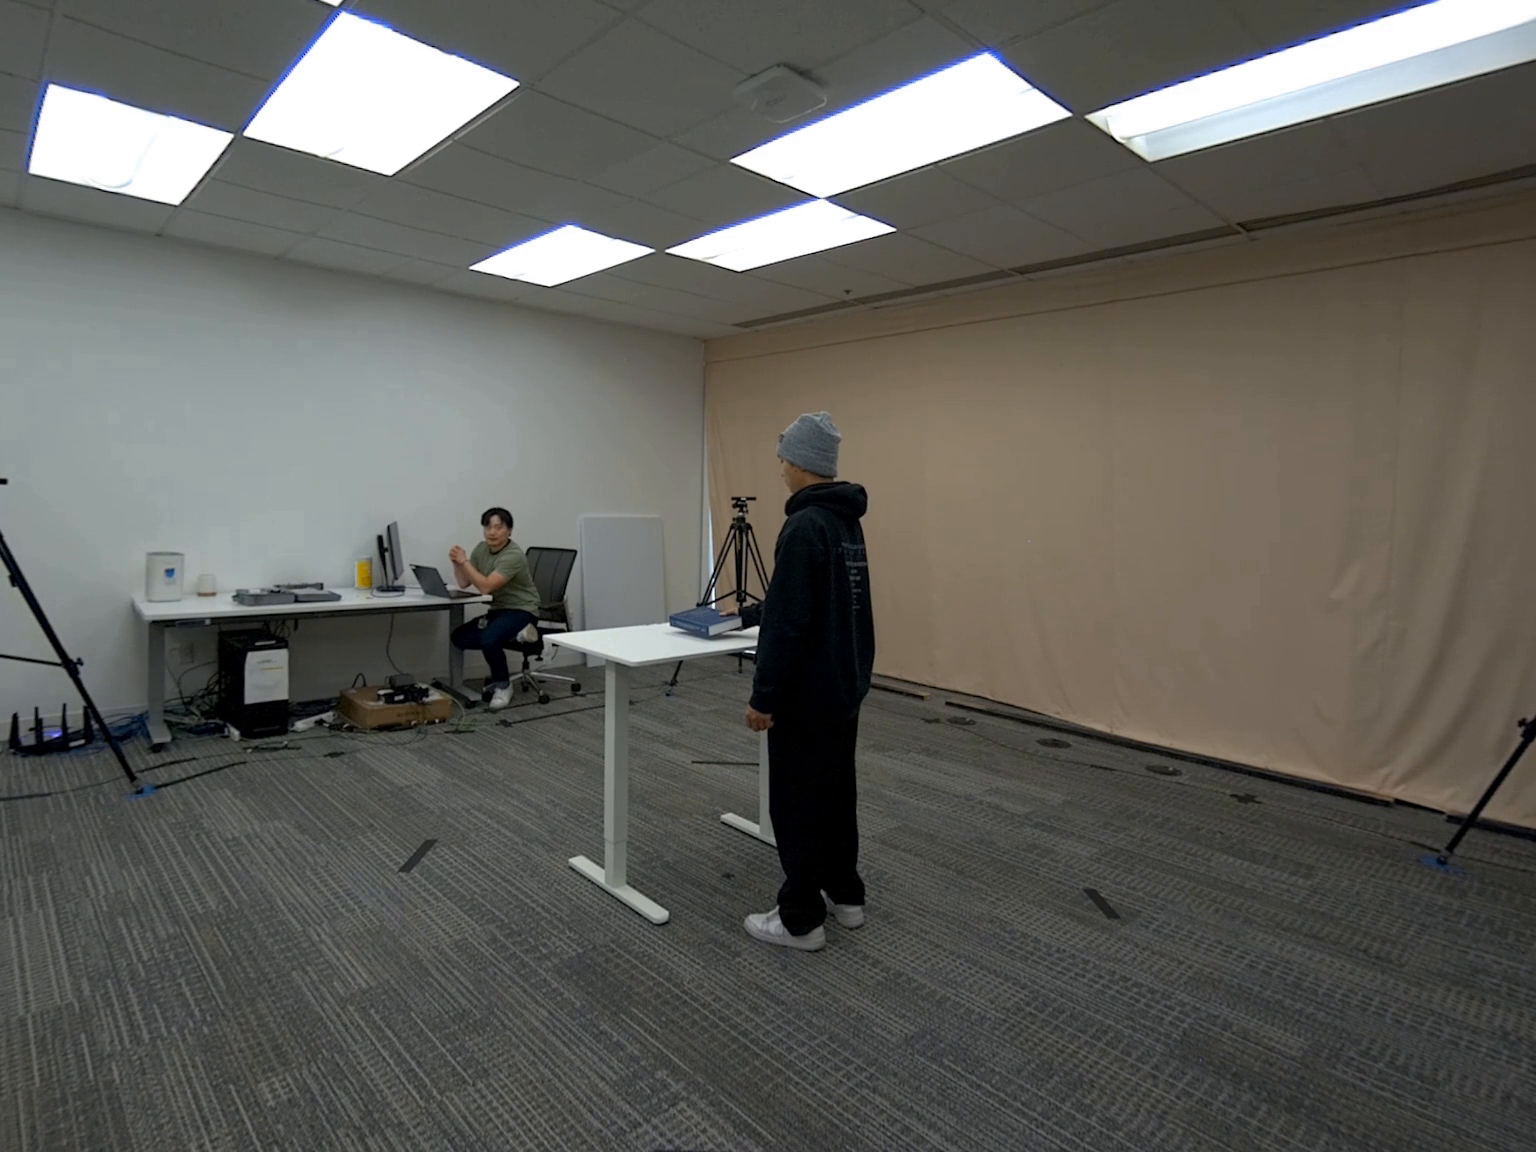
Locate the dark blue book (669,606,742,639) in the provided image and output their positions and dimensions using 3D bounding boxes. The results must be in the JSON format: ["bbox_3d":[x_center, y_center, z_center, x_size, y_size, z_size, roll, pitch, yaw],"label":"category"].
[{"bbox_3d":[-0.241,0.173,3.118,0.160,0.045,0.251,-13,15,-37],"label":"dark blue book"}]
